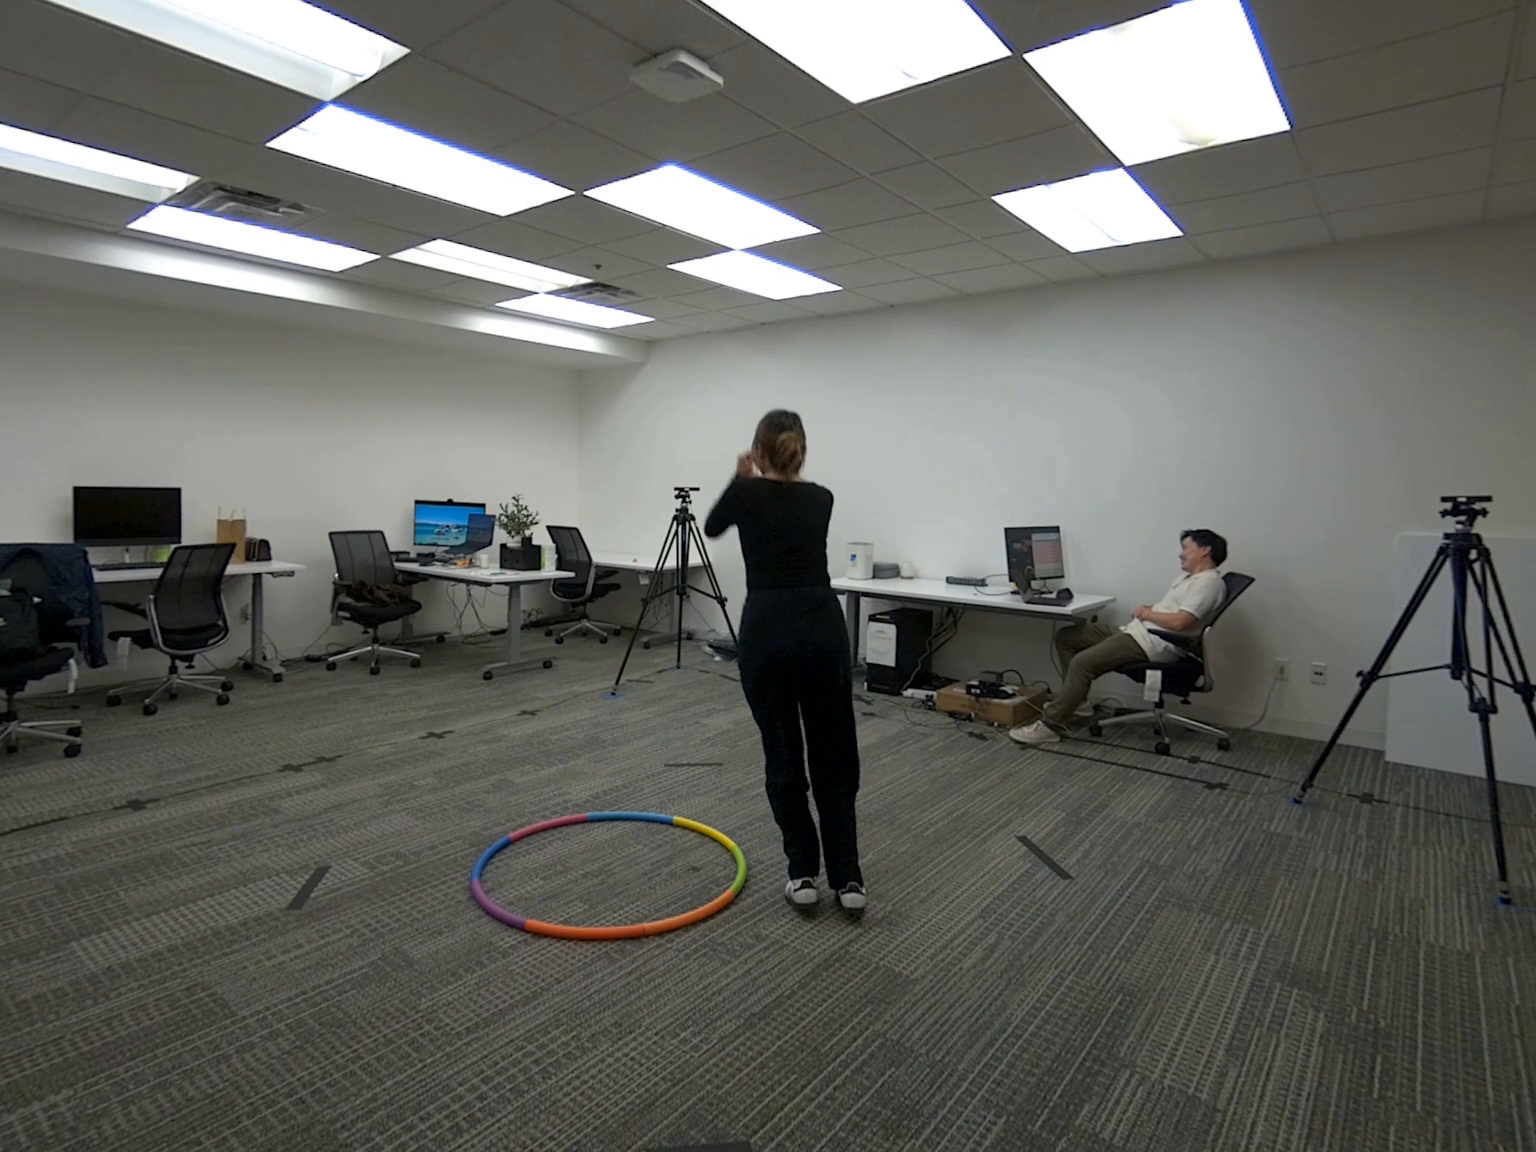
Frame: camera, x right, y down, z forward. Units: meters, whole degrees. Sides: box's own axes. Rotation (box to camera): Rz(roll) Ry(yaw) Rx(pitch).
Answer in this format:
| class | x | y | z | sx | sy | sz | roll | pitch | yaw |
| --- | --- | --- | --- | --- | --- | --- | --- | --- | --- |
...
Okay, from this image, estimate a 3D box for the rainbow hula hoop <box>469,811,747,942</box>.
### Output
| class | x | y | z | sx | sy | sz | roll | pitch | yaw |
| --- | --- | --- | --- | --- | --- | --- | --- | --- | --- |
| rainbow hula hoop | -0.574 | 1.033 | 3.081 | 0.978 | 0.035 | 0.984 | 1 | 5 | -2 |
